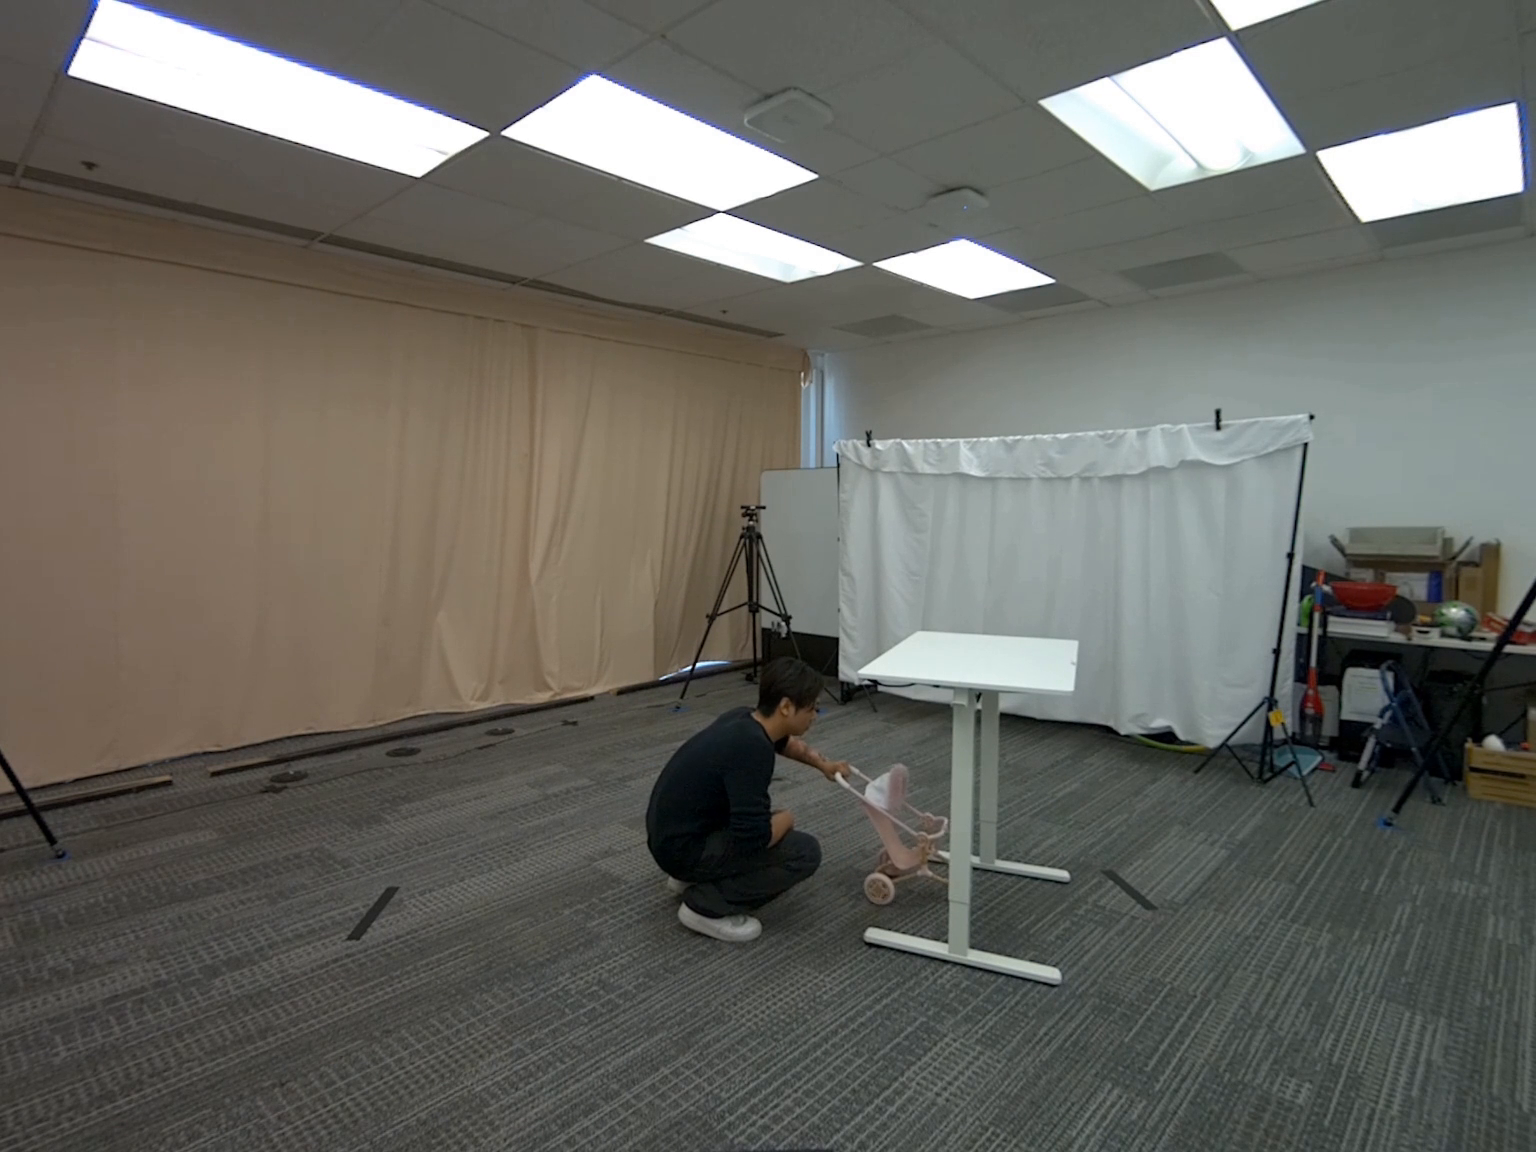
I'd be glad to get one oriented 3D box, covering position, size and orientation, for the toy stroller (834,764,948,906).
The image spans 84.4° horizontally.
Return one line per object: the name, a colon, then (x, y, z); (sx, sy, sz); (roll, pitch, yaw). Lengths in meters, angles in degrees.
toy stroller: (0.488, 0.918, 3.011); (0.348, 0.537, 0.275); (-17, -4, 24)
